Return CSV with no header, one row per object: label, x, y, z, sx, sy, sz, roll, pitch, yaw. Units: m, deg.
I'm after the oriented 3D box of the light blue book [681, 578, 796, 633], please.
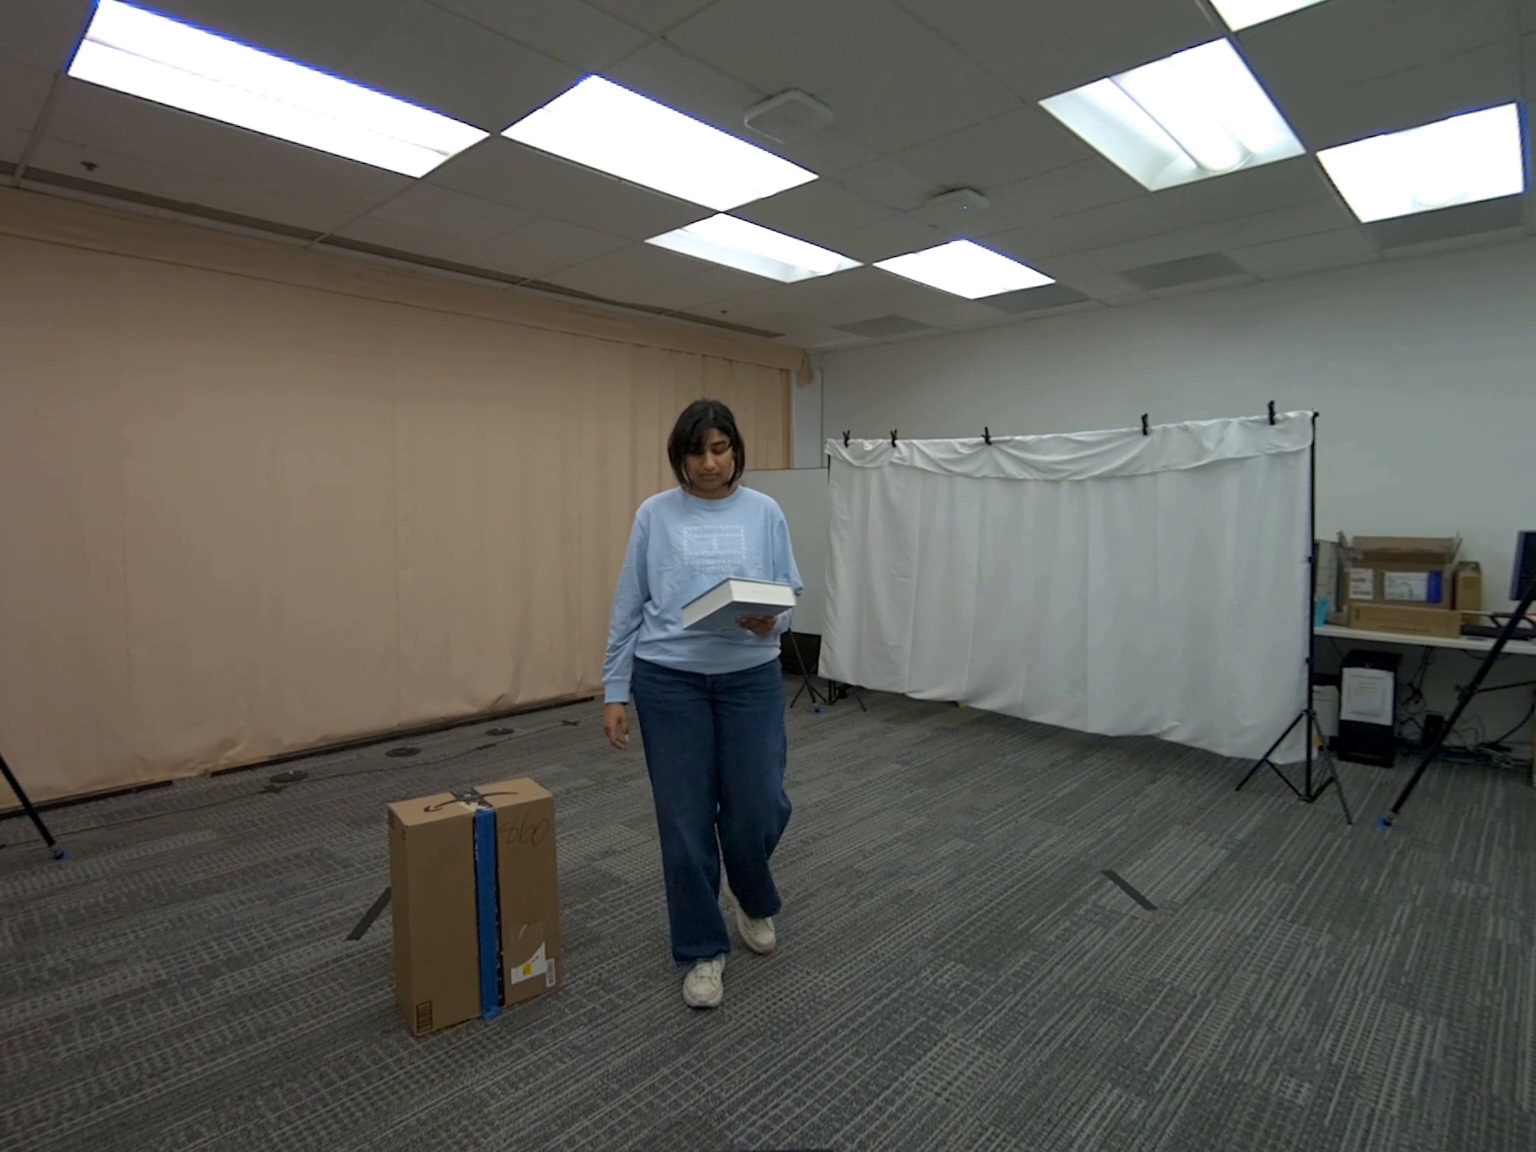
light blue book,-0.098,0.083,2.158,0.186,0.060,0.265,7,-22,-30
